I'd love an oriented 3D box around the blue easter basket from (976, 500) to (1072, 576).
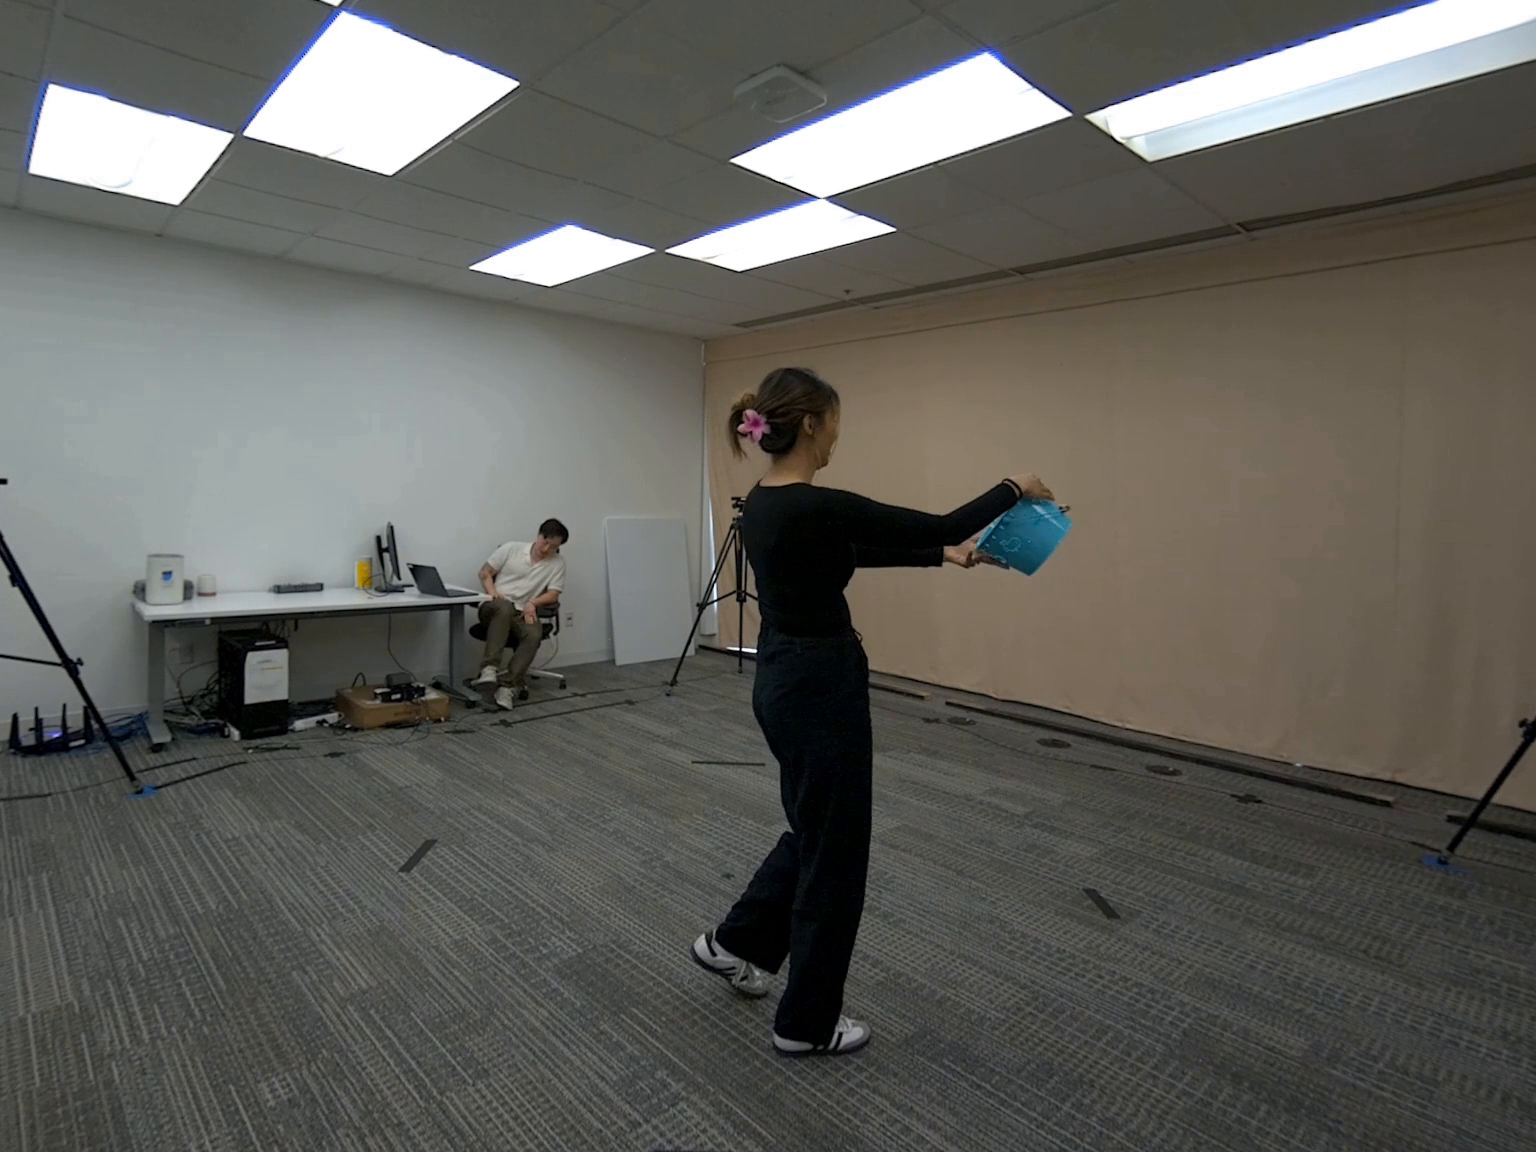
[{"bbox_3d":[0.675,-0.113,2.201,0.157,0.243,0.242,36,10,7],"label":"blue easter basket"}]
